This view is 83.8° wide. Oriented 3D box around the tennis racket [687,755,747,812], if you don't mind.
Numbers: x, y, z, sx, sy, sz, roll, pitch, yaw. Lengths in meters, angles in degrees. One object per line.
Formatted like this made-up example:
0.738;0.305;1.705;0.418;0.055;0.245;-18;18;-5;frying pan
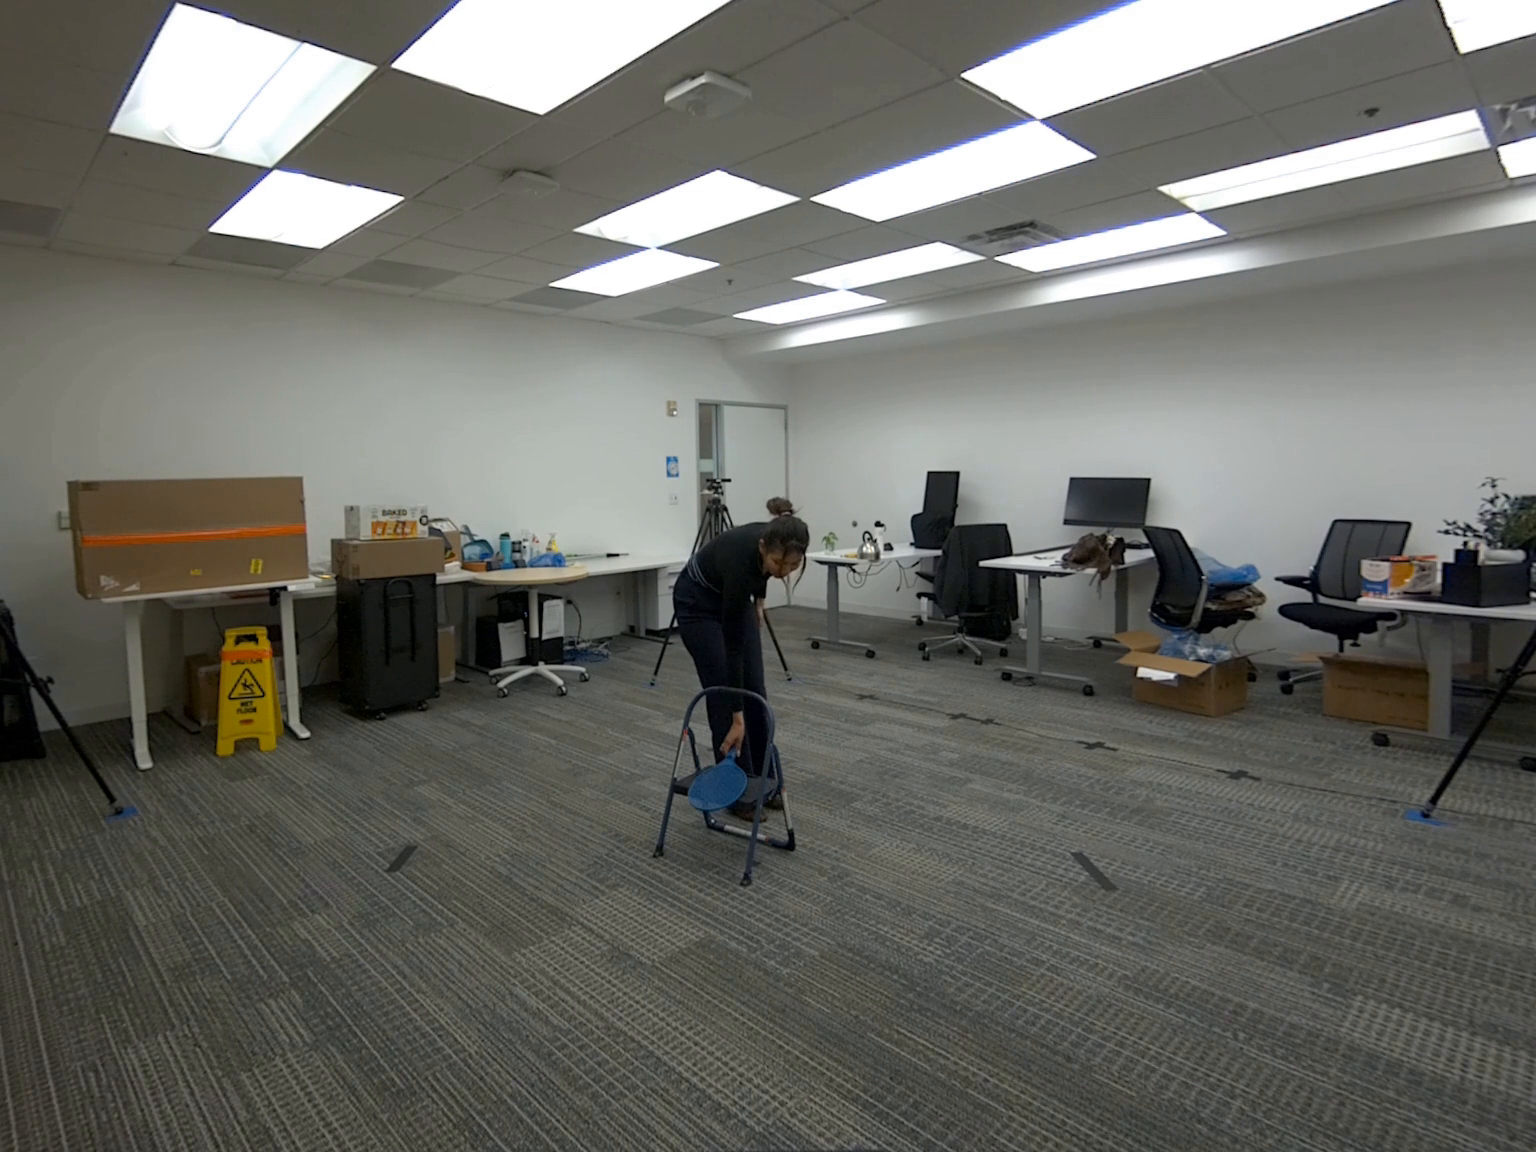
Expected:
-0.166;0.743;3.199;0.216;0.031;0.435;-4;20;13;tennis racket
